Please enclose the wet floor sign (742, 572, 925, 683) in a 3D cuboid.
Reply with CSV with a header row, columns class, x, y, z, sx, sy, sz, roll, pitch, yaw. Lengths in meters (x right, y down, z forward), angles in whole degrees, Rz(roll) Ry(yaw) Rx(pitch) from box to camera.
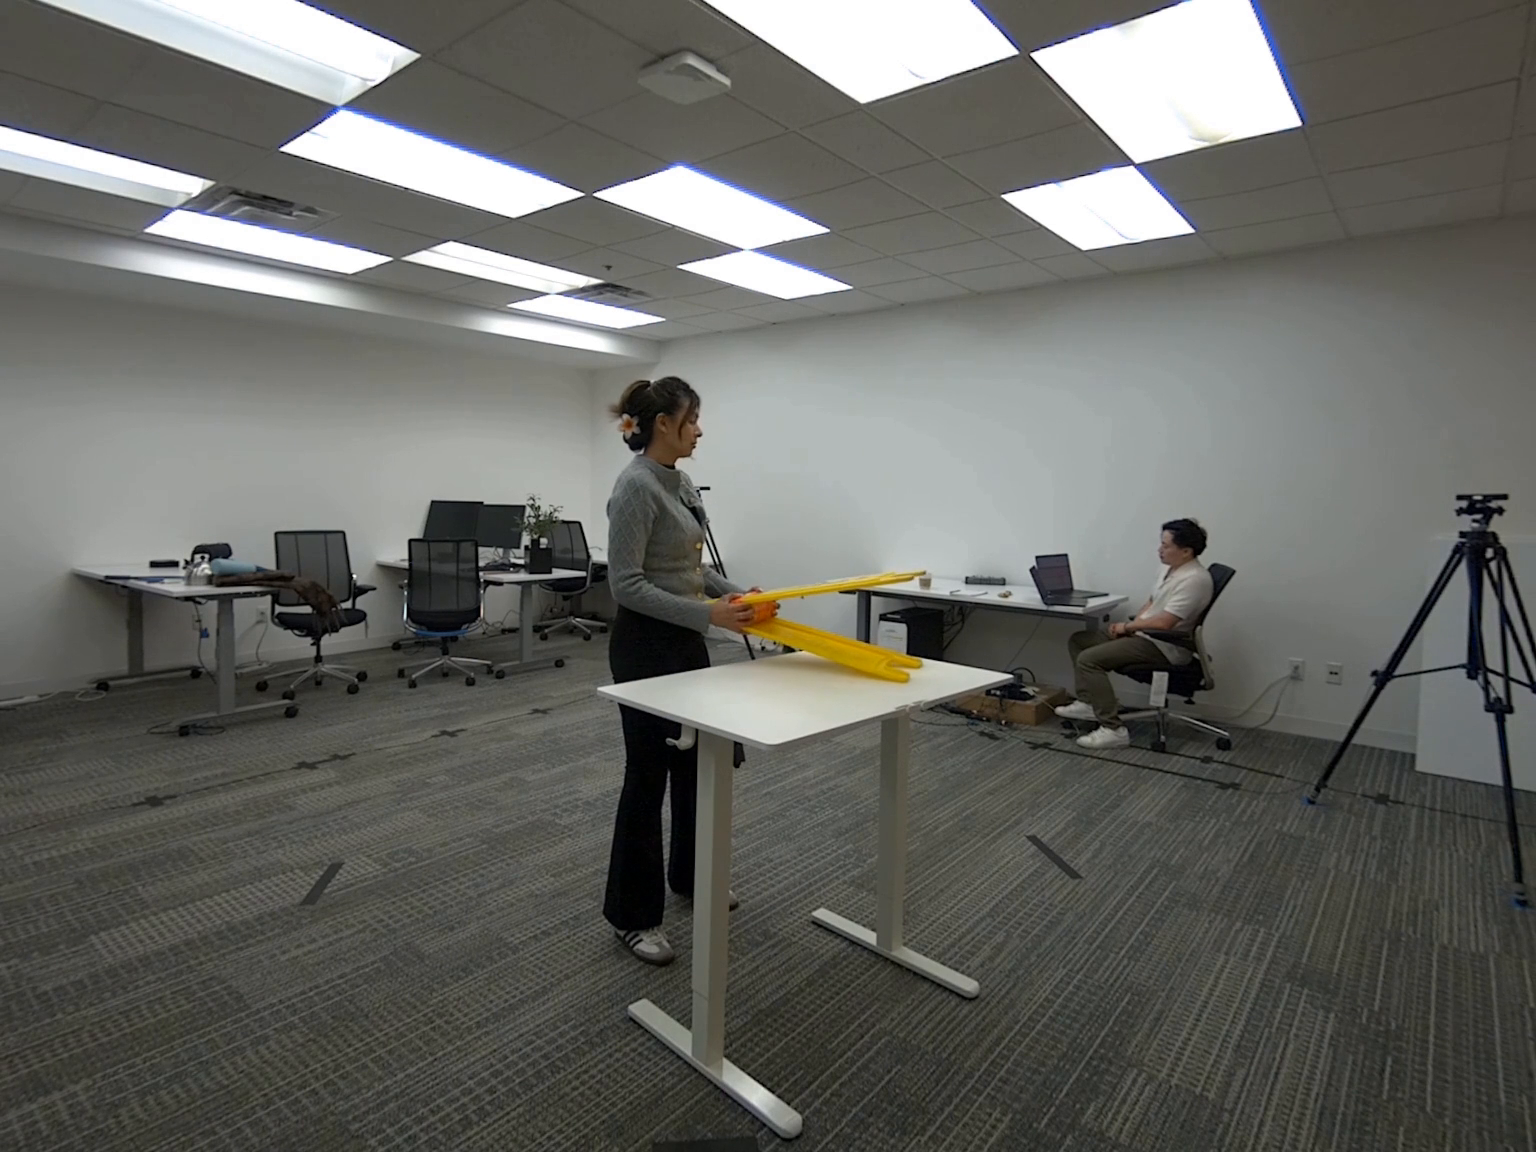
class,x,y,z,sx,sy,sz,roll,pitch,yaw
wet floor sign,0.107,0.111,2.505,0.662,0.289,0.276,4,4,22
